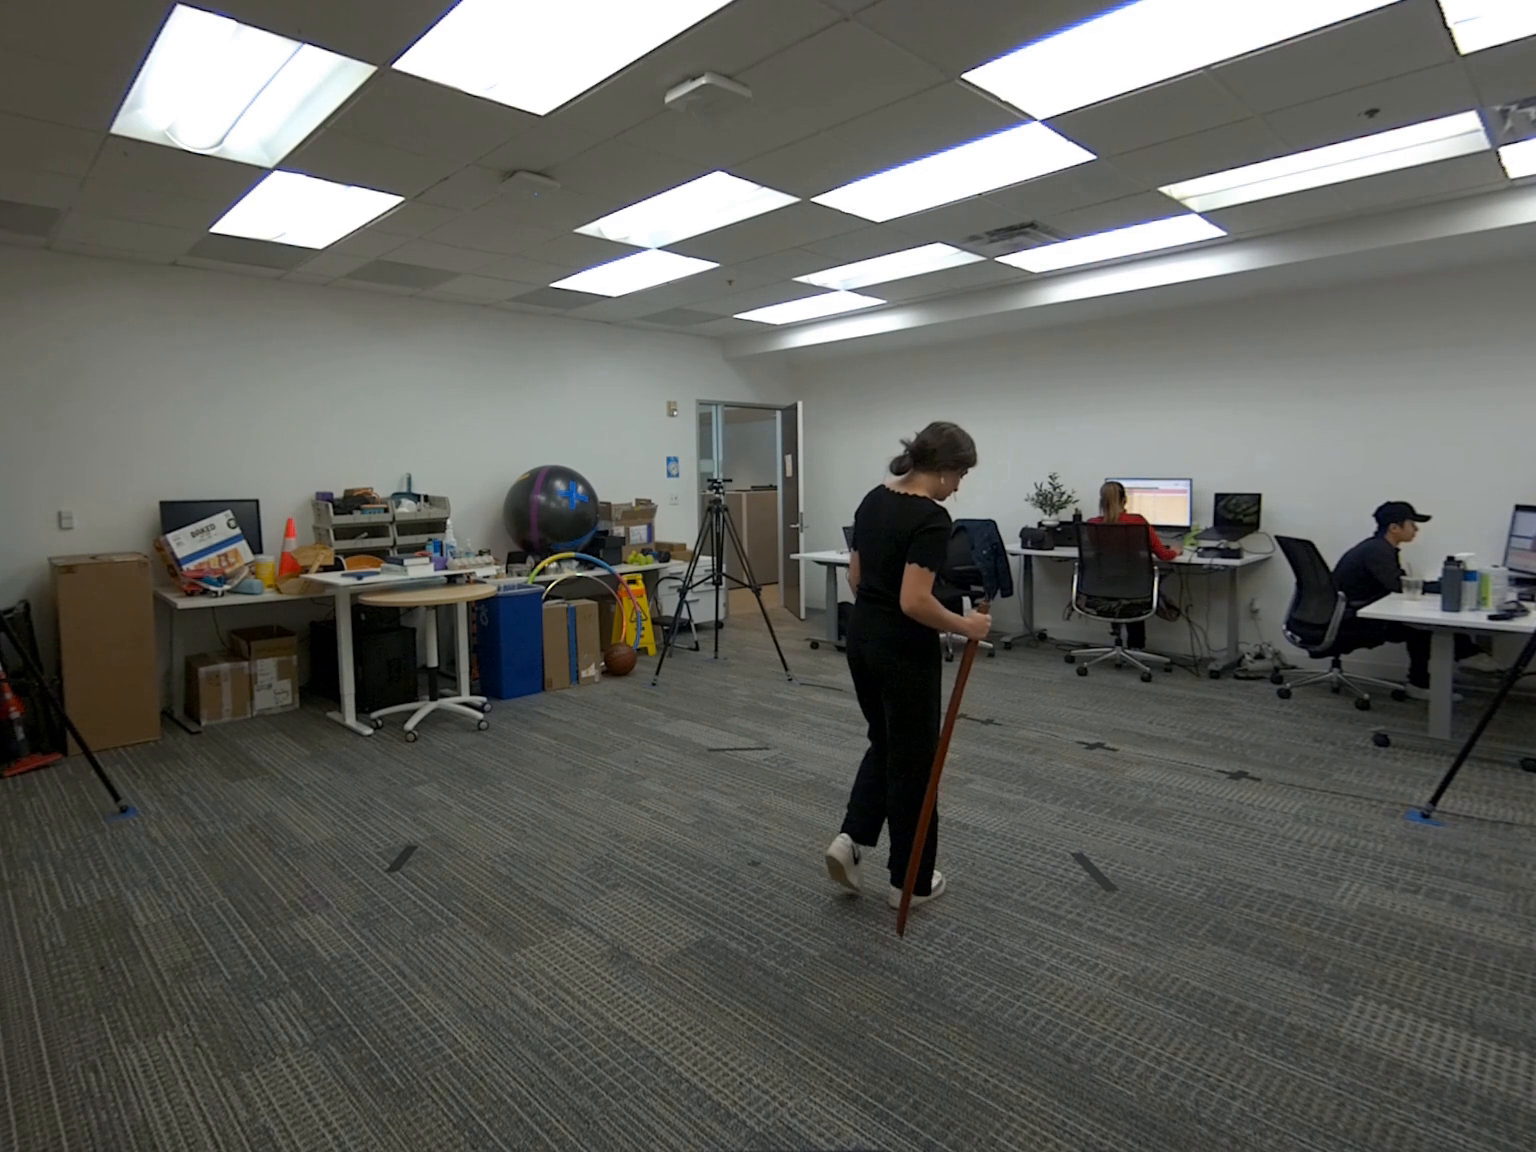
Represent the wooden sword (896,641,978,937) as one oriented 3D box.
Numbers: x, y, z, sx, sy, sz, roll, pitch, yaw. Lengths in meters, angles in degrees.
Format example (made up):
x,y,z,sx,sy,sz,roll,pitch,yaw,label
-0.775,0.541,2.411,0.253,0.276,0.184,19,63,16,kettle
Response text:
x,y,z,sx,sy,sz,roll,pitch,yaw,label
0.516,0.610,2.585,0.053,1.028,0.023,11,-7,36,wooden sword
